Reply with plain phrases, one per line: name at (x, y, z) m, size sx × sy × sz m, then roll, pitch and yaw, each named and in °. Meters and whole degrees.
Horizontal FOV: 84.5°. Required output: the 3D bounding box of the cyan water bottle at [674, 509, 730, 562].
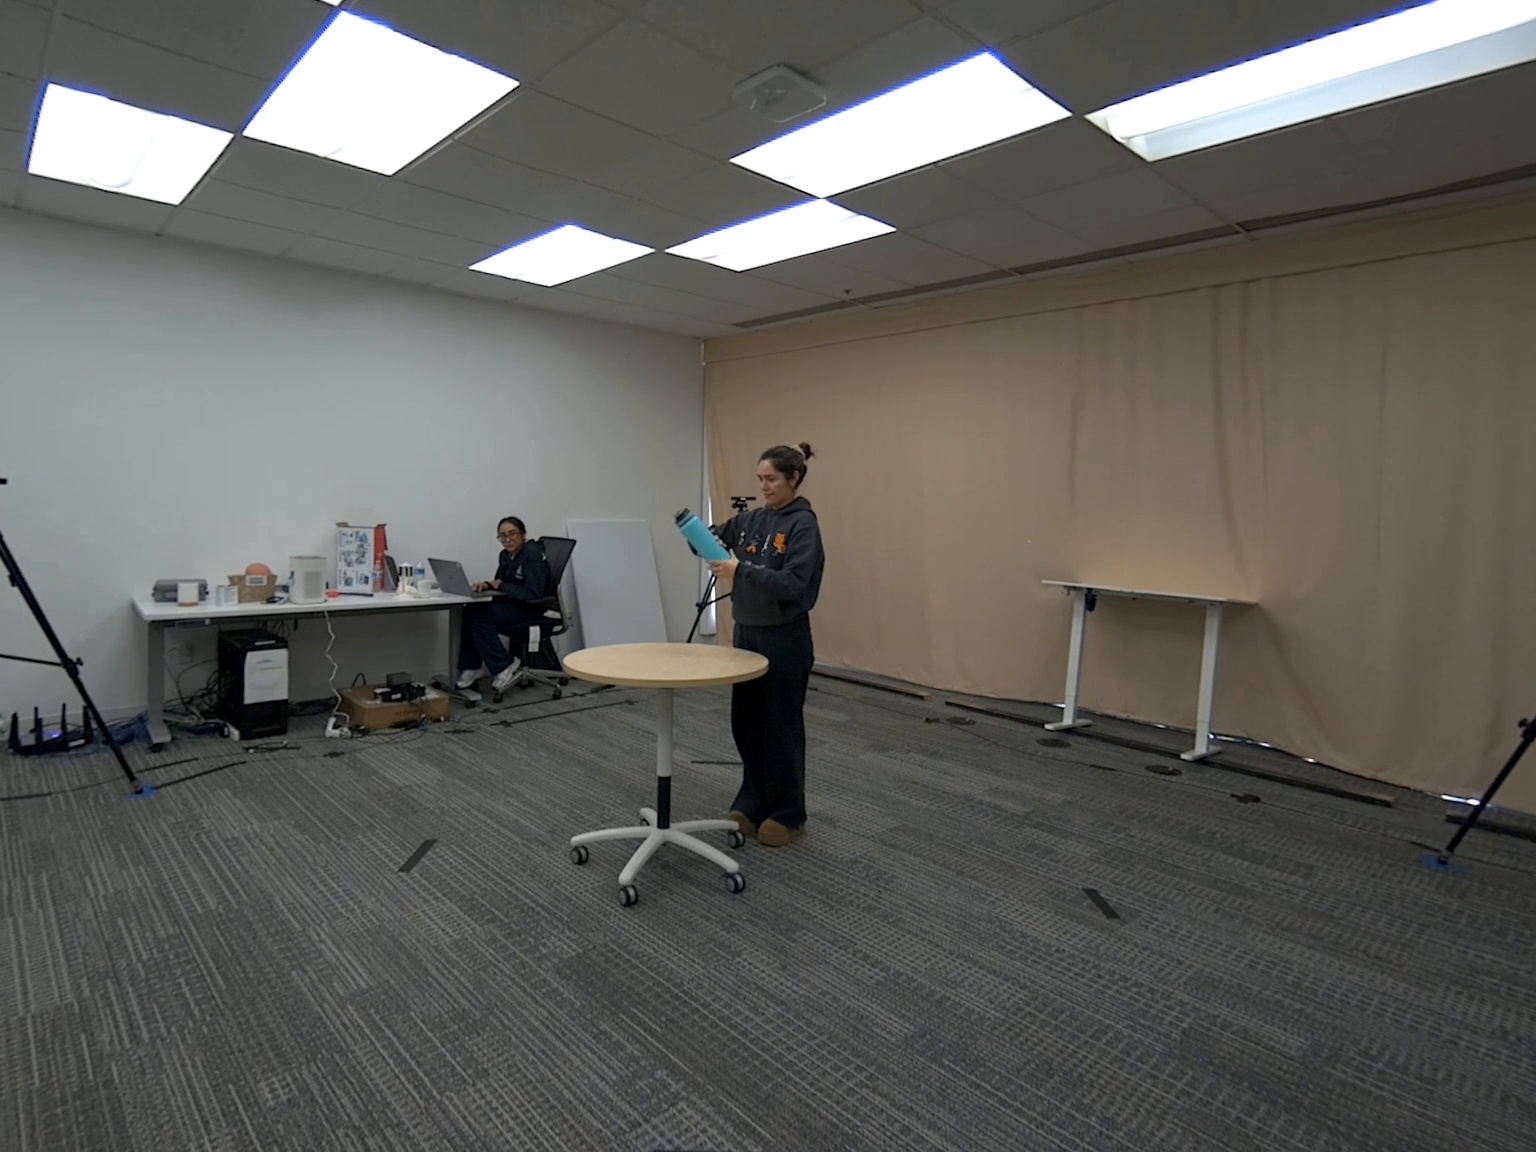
cyan water bottle at (-0.270, -0.149, 3.309) m, size 0.092 × 0.282 × 0.093 m, roll -38°, pitch 5°, yaw 3°
